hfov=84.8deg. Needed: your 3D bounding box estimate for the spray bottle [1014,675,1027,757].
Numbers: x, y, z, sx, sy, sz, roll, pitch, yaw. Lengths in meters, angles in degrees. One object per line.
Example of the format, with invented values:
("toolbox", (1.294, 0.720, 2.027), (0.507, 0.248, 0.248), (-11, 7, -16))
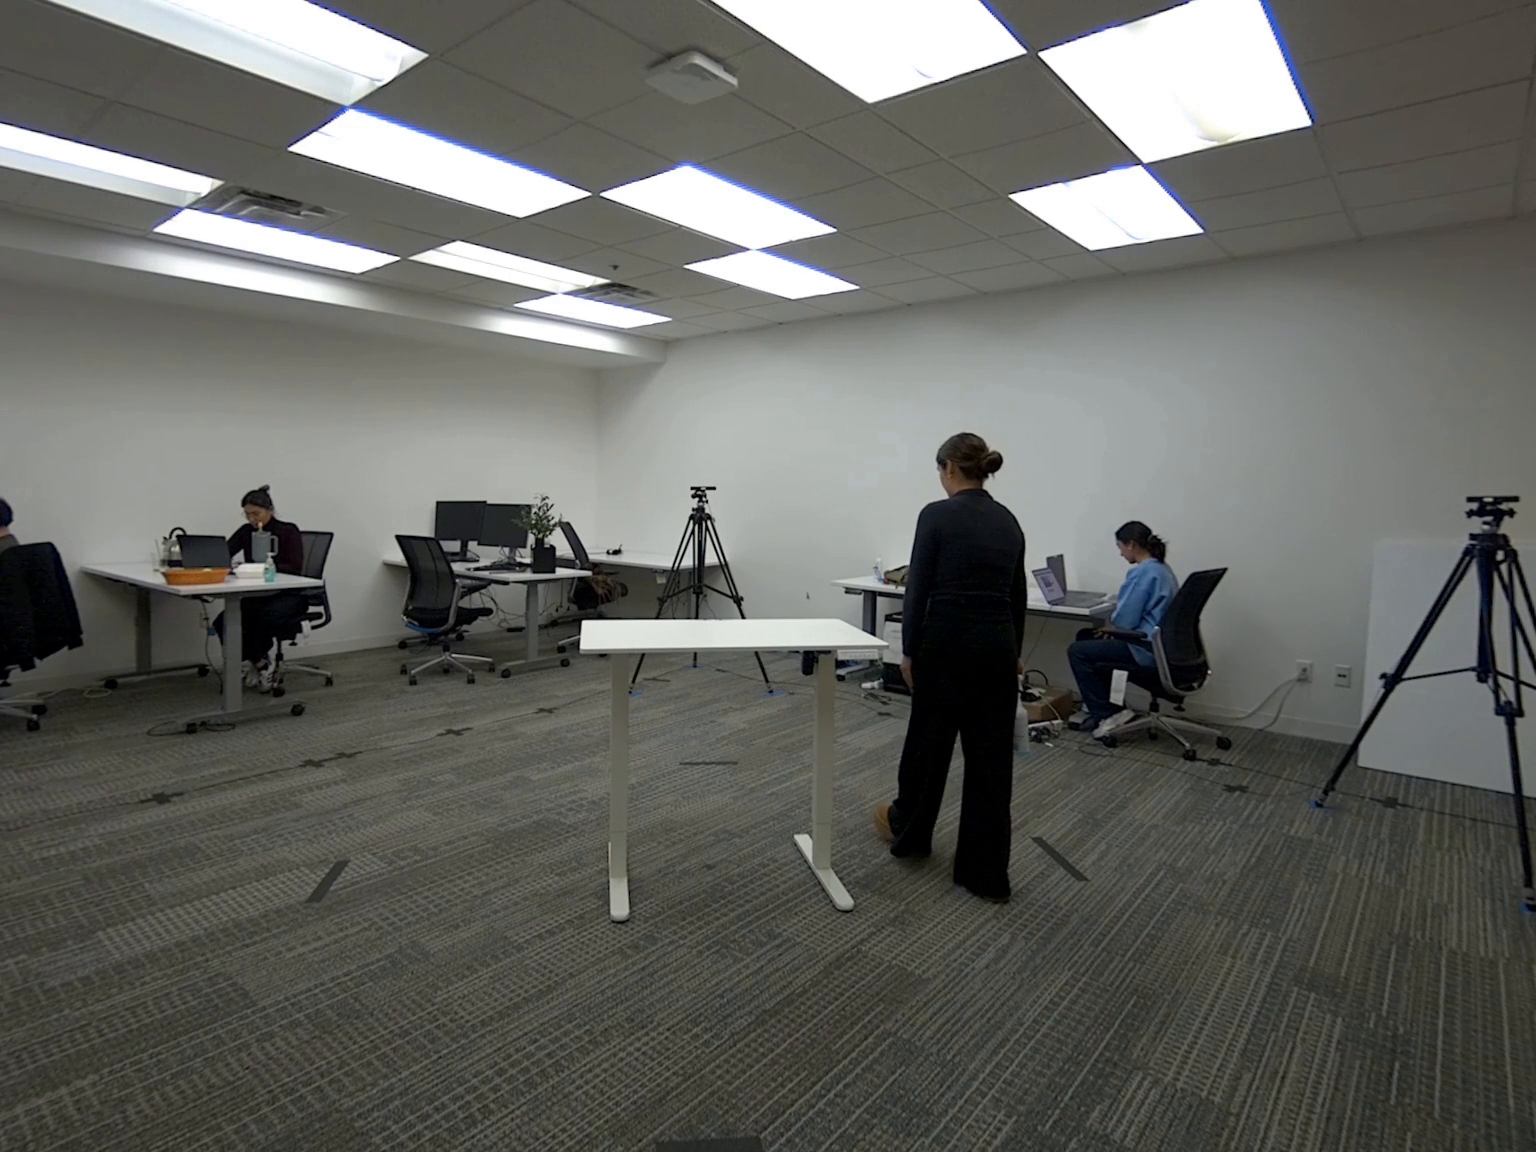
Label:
("spray bottle", (0.917, 0.520, 3.195), (0.087, 0.297, 0.090), (-3, 0, 2))
